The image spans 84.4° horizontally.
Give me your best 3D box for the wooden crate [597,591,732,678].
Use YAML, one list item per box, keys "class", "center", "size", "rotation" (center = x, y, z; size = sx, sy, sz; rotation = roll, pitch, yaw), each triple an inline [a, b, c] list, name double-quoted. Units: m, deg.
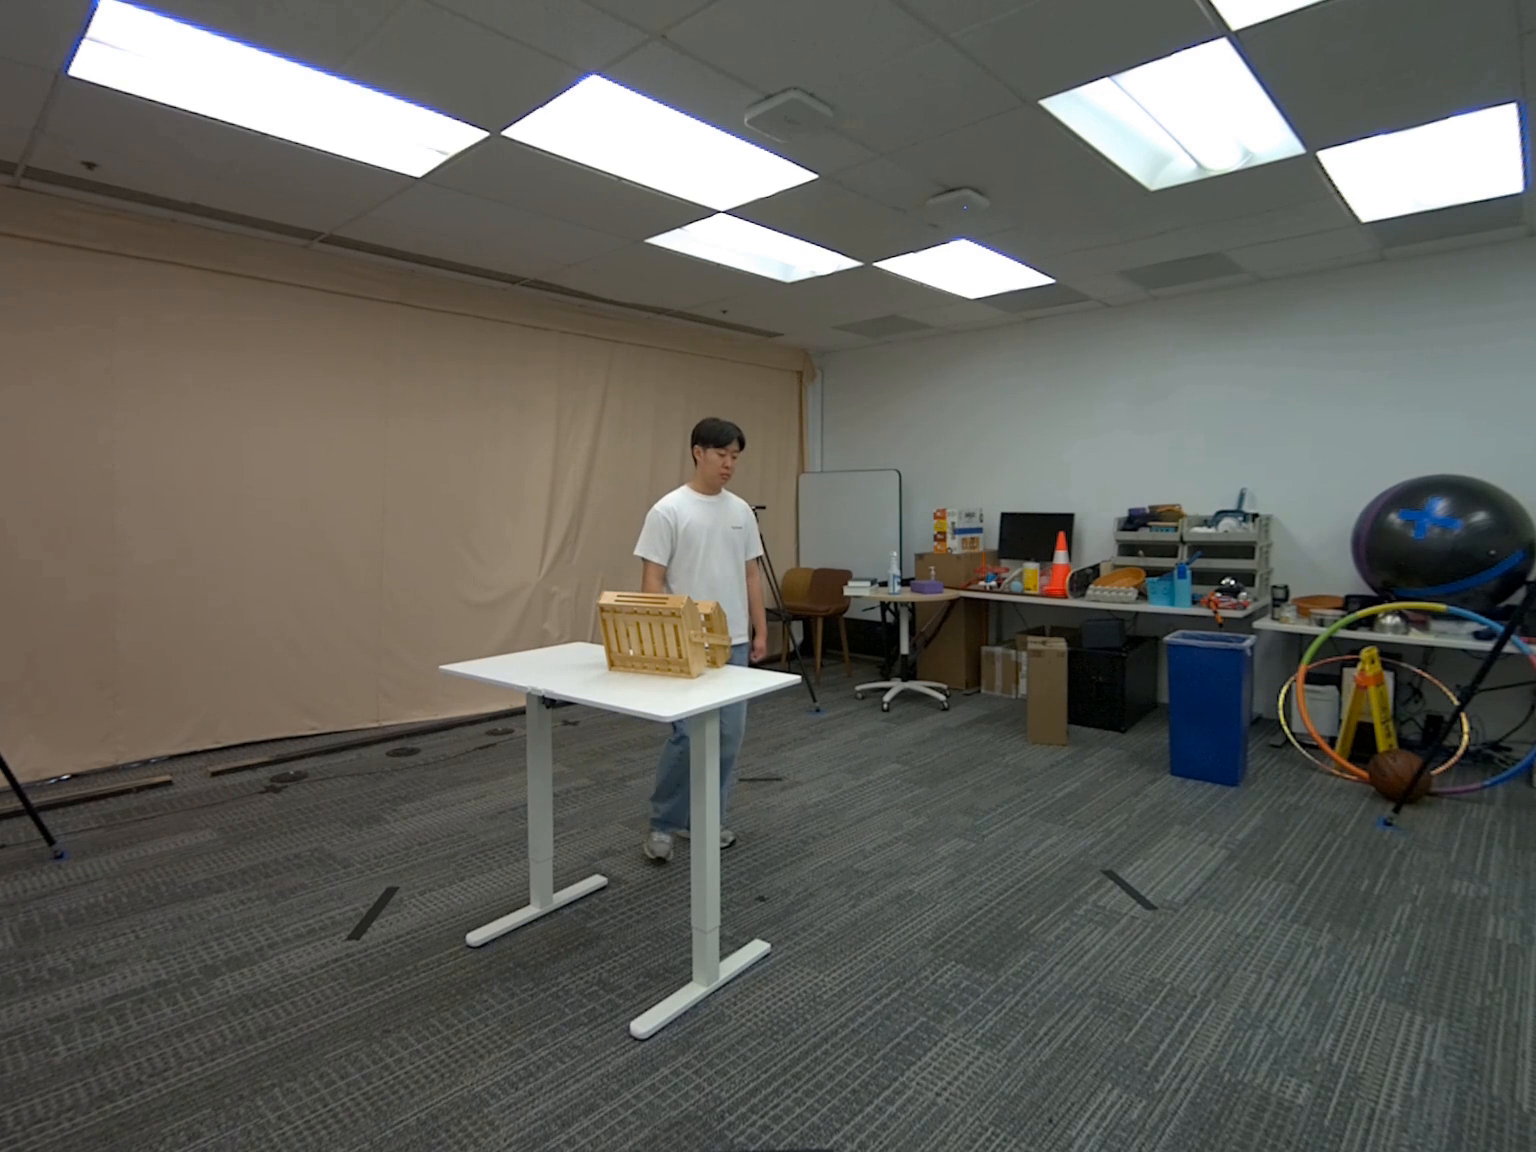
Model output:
- class: "wooden crate"
  center: [-0.323, 0.158, 2.638]
  size: [0.333, 0.298, 0.270]
  rotation: [2, 21, 24]
